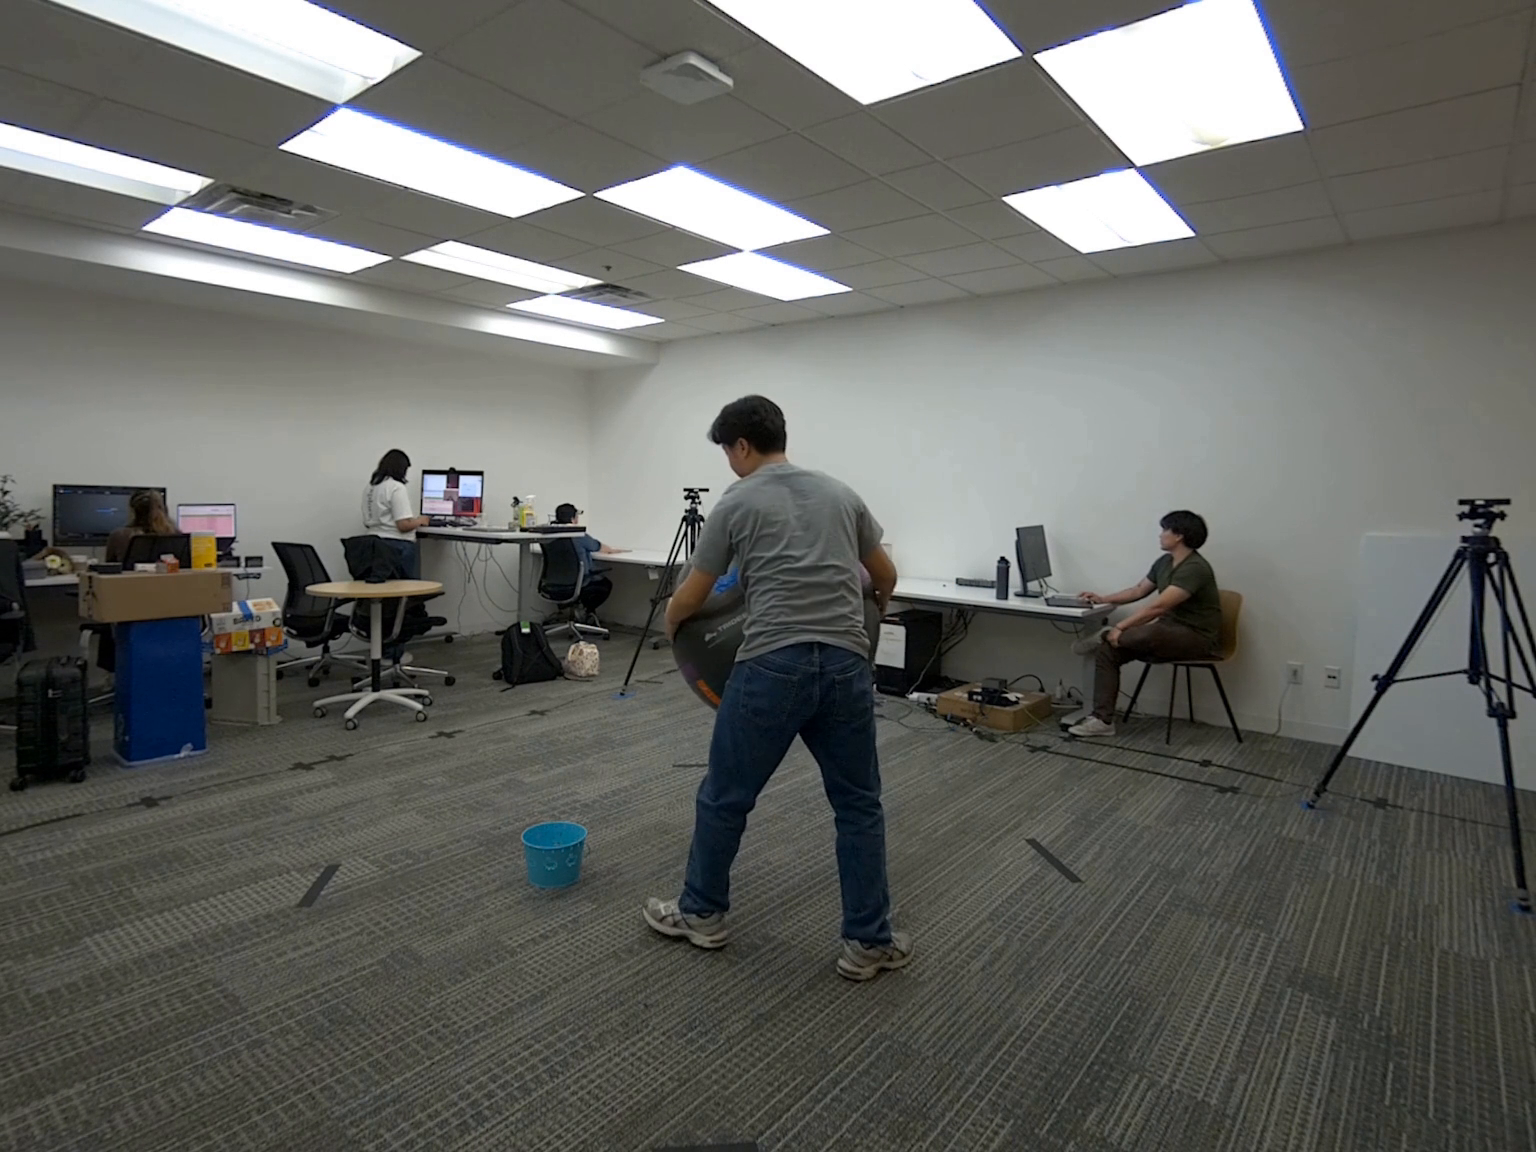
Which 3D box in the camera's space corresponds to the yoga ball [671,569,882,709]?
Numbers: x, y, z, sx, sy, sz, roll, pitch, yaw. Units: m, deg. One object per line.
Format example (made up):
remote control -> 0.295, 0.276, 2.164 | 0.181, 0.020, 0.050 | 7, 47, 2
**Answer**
yoga ball -> -0.001, 0.182, 3.065 | 0.757, 0.755, 0.762 | 1, 4, -2
